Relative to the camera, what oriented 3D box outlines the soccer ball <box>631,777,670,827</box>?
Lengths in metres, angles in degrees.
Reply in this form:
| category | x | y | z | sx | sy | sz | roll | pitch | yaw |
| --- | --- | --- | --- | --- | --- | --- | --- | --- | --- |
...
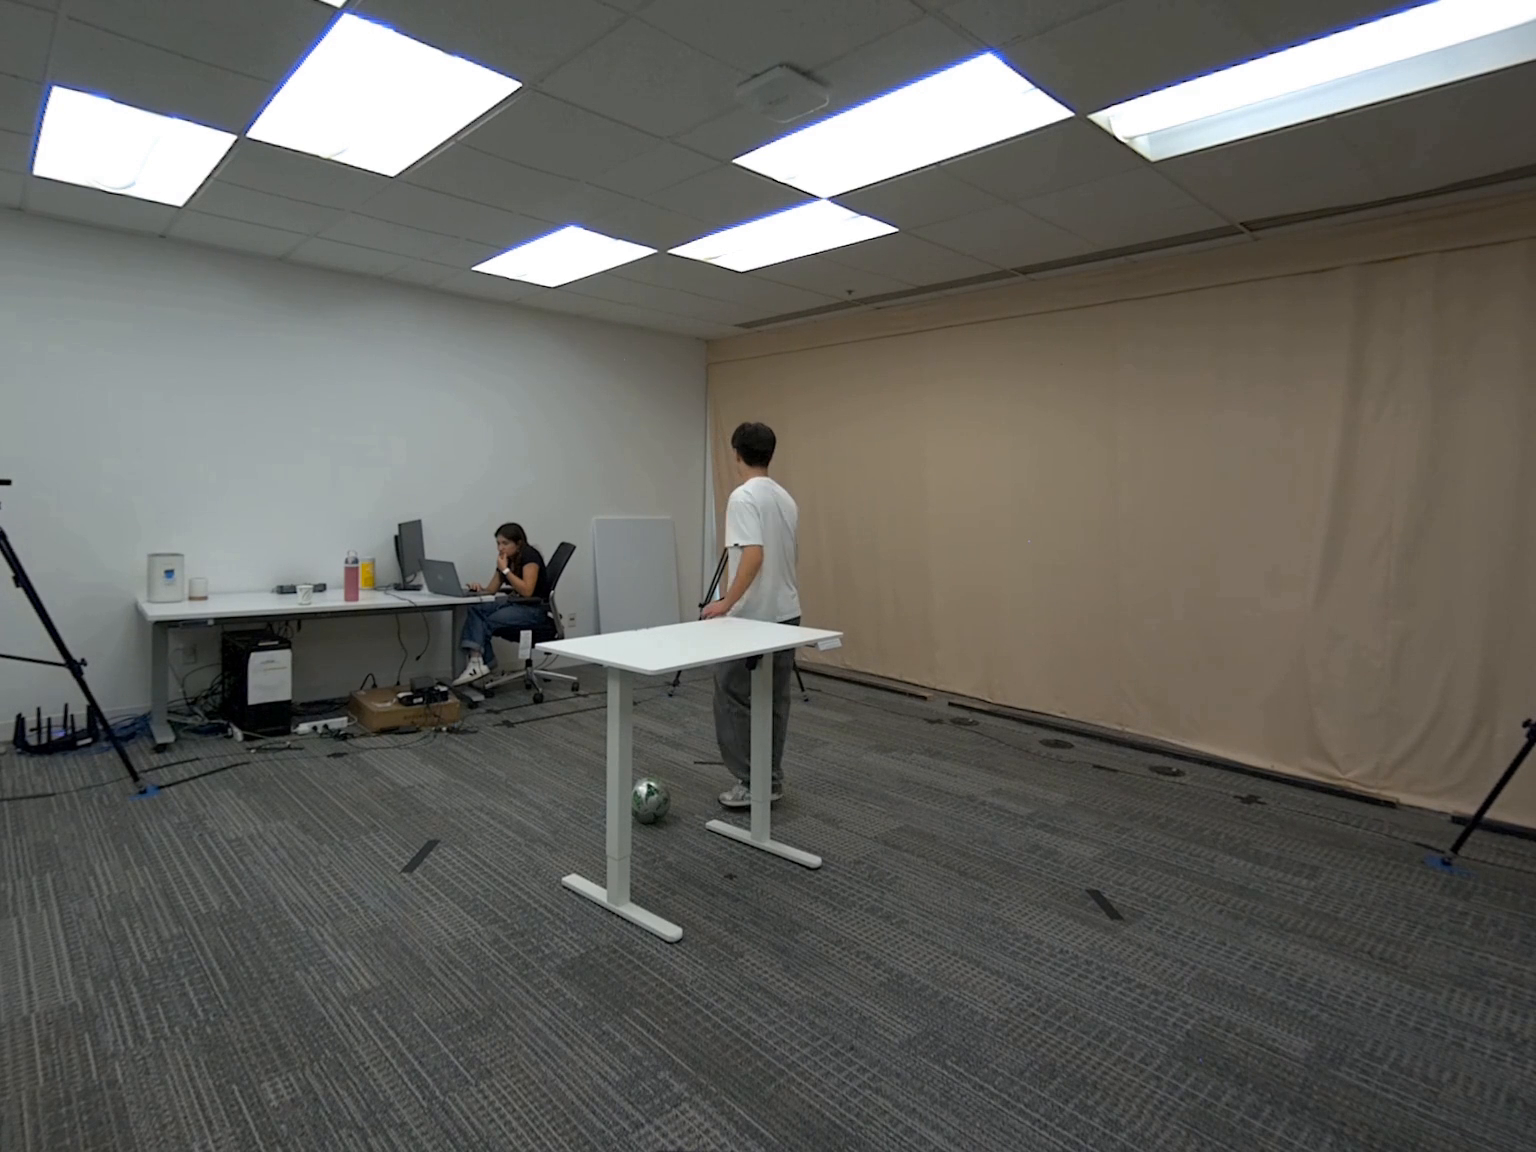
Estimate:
| category | x | y | z | sx | sy | sz | roll | pitch | yaw |
| --- | --- | --- | --- | --- | --- | --- | --- | --- | --- |
| soccer ball | -0.519 | 0.963 | 3.605 | 0.187 | 0.187 | 0.188 | 1 | 4 | -1 |
